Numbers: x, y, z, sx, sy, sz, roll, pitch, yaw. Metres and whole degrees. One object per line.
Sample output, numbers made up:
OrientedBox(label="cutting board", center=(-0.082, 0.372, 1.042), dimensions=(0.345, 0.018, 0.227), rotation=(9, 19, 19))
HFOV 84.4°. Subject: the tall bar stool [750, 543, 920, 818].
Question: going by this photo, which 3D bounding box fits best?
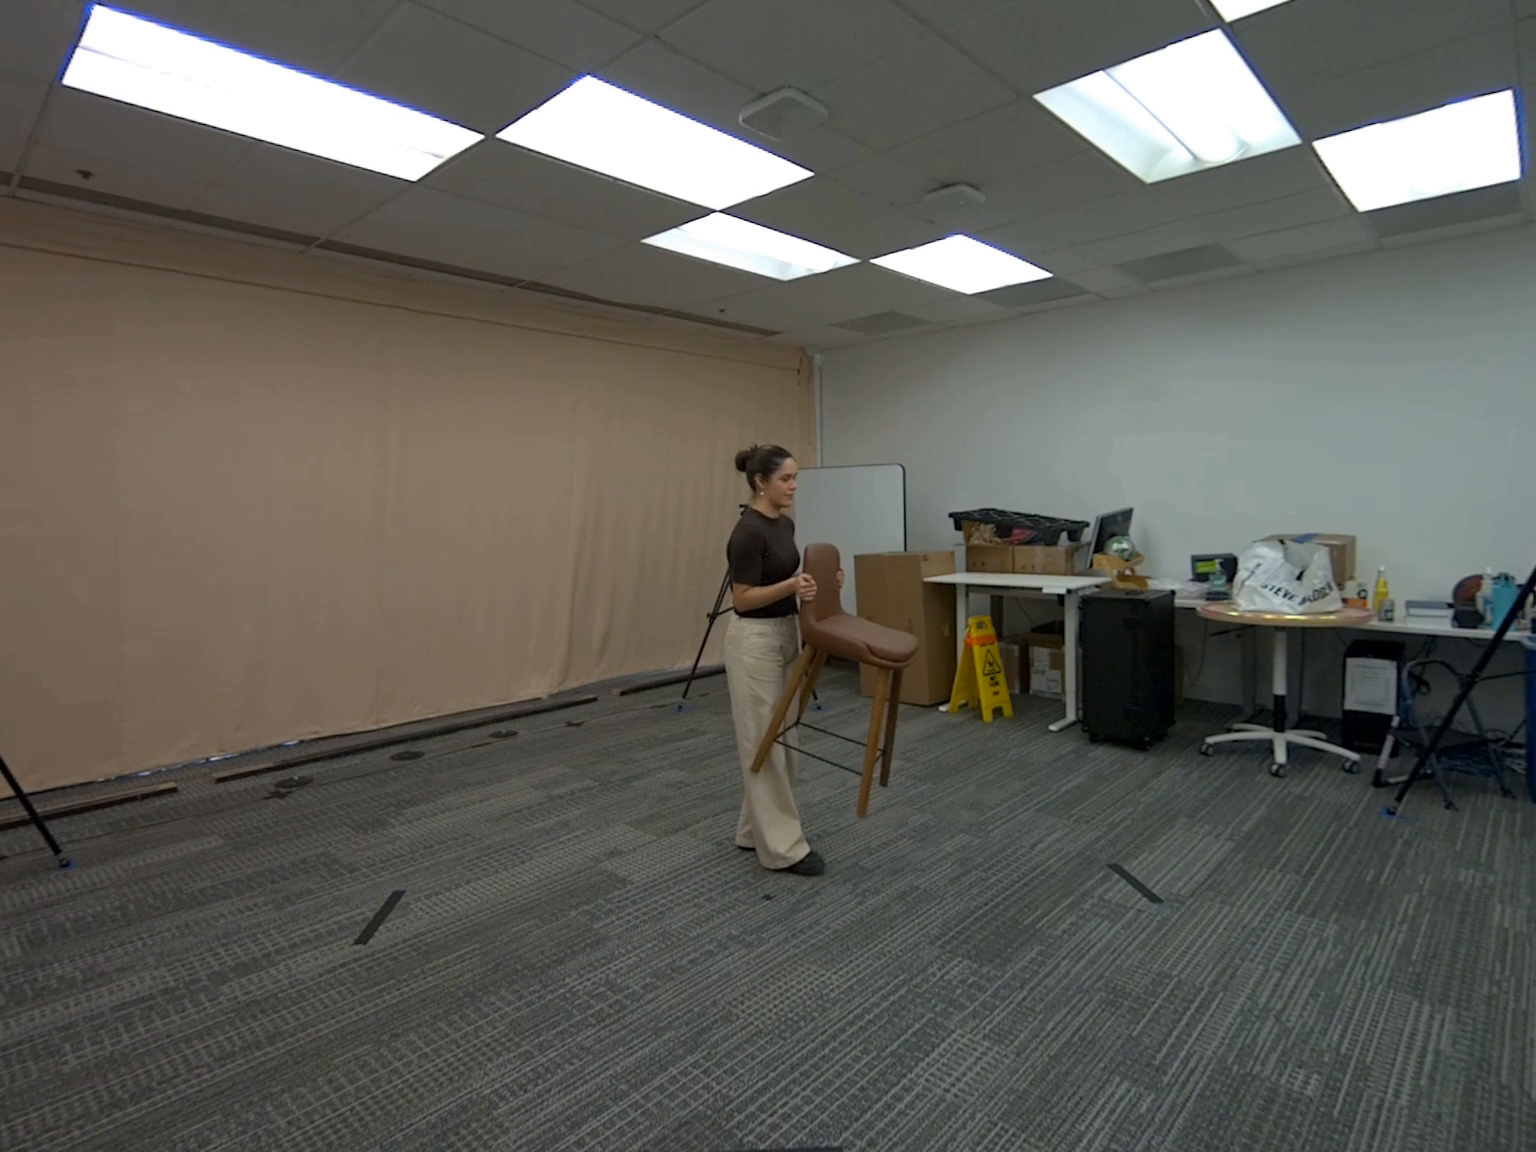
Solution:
OrientedBox(label="tall bar stool", center=(0.302, 0.366, 3.173), dimensions=(0.479, 0.887, 0.446), rotation=(15, 7, 21))
